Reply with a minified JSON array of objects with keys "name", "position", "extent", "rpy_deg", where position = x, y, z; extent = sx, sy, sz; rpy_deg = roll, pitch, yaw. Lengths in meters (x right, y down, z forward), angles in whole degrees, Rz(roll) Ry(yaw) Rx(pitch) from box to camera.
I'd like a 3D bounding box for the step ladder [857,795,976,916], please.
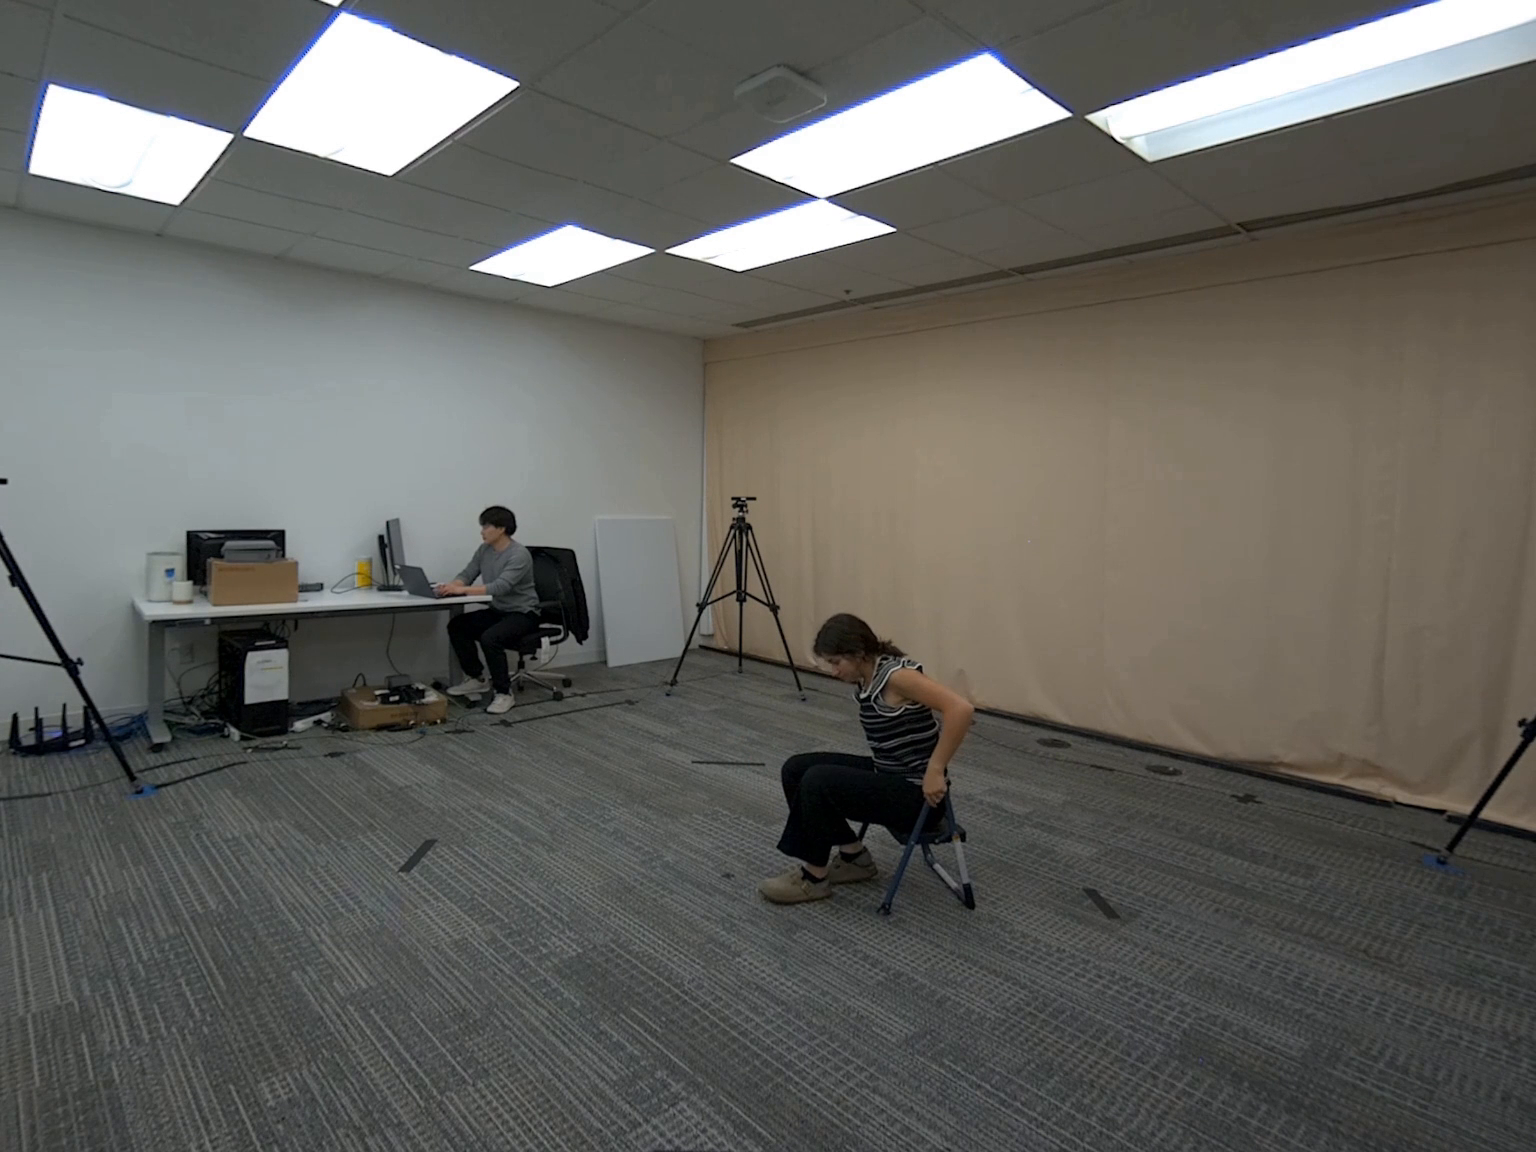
[{"name":"step ladder","position":[0.510,0.834,3.055],"extent":[0.346,0.604,0.435],"rpy_deg":[1,5,-11]}]
